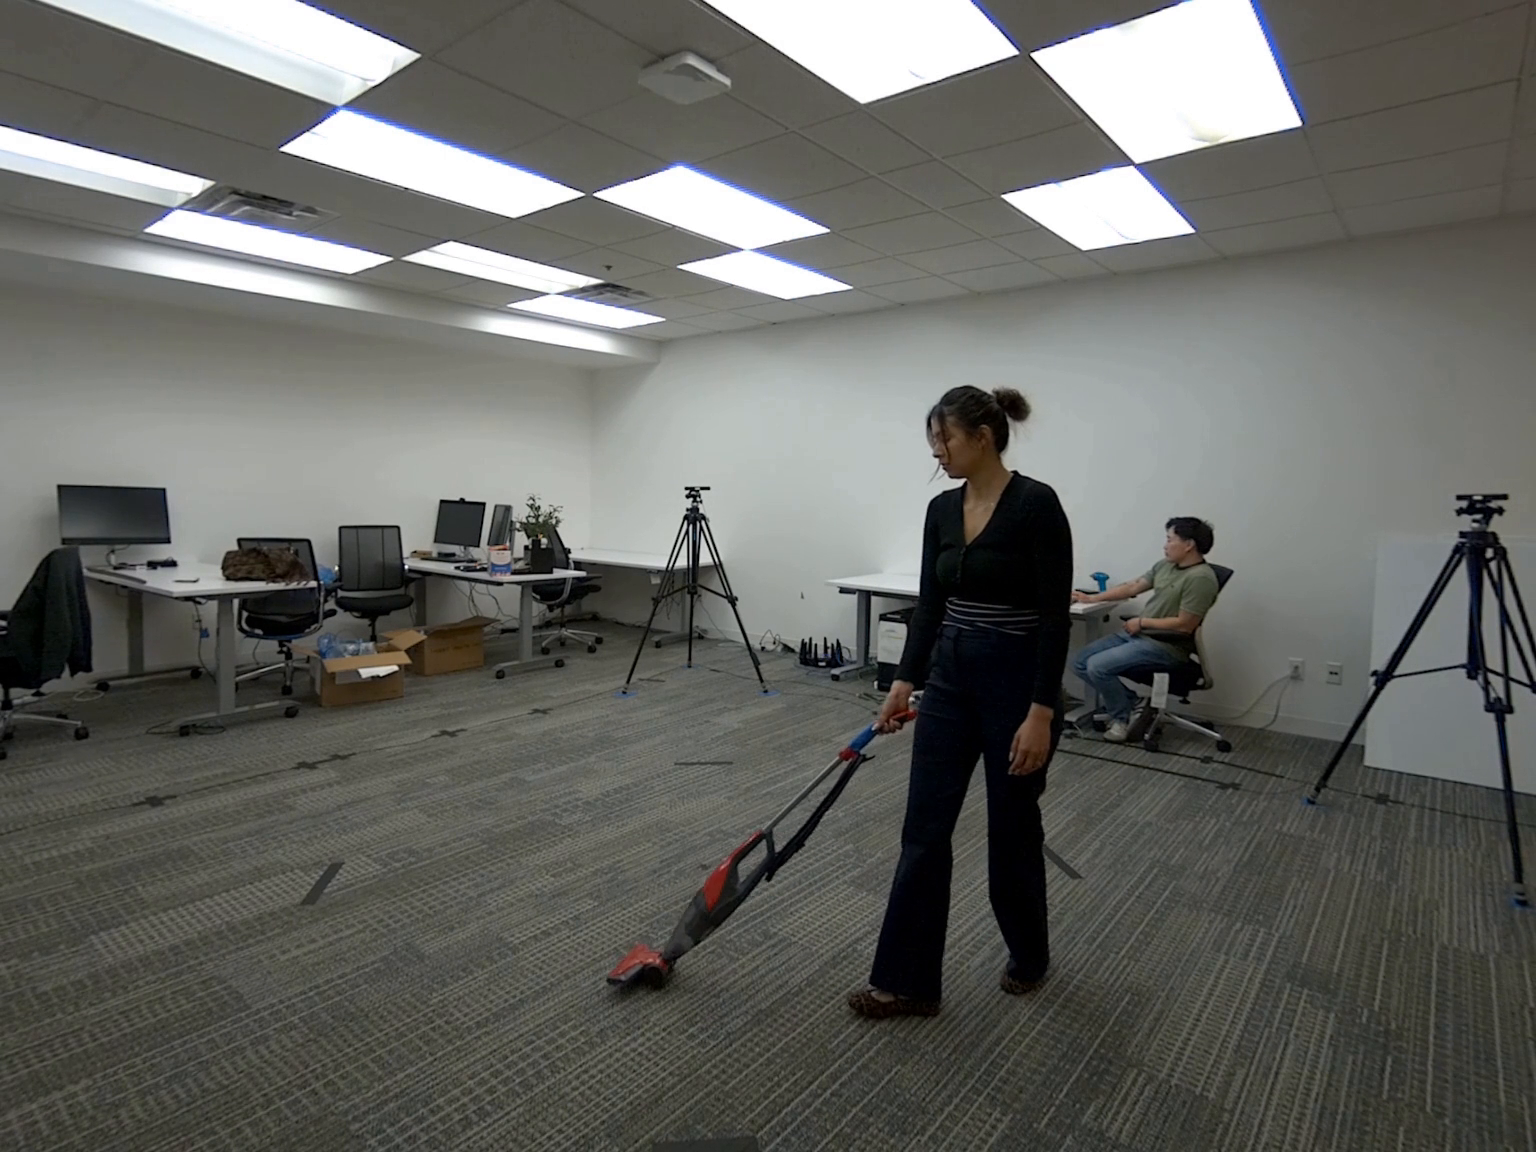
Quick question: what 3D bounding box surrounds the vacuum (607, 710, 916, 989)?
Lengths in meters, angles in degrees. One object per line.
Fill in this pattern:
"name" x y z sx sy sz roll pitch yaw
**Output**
"vacuum" -0.005 0.742 2.355 0.146 1.049 0.249 44 7 9
